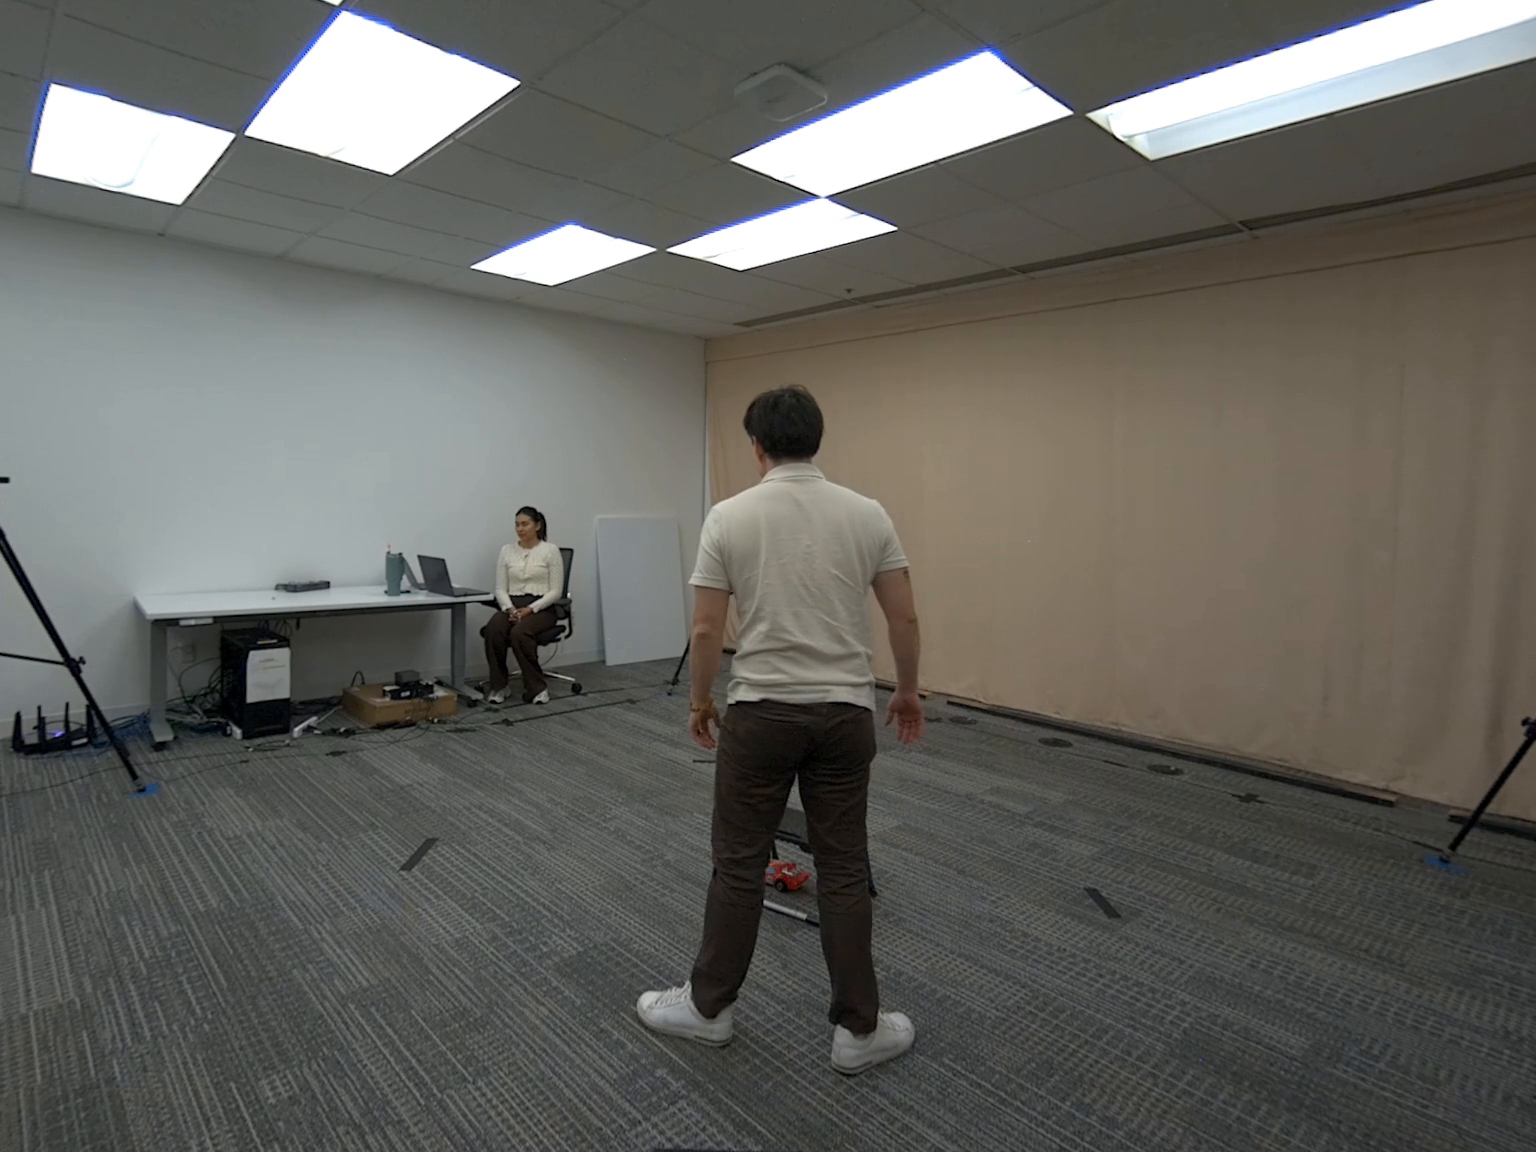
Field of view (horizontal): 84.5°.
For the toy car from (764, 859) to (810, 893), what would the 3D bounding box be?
[{"bbox_3d":[0.027,1.085,3.042,0.259,0.083,0.127,-9,-2,35],"label":"toy car"}]
